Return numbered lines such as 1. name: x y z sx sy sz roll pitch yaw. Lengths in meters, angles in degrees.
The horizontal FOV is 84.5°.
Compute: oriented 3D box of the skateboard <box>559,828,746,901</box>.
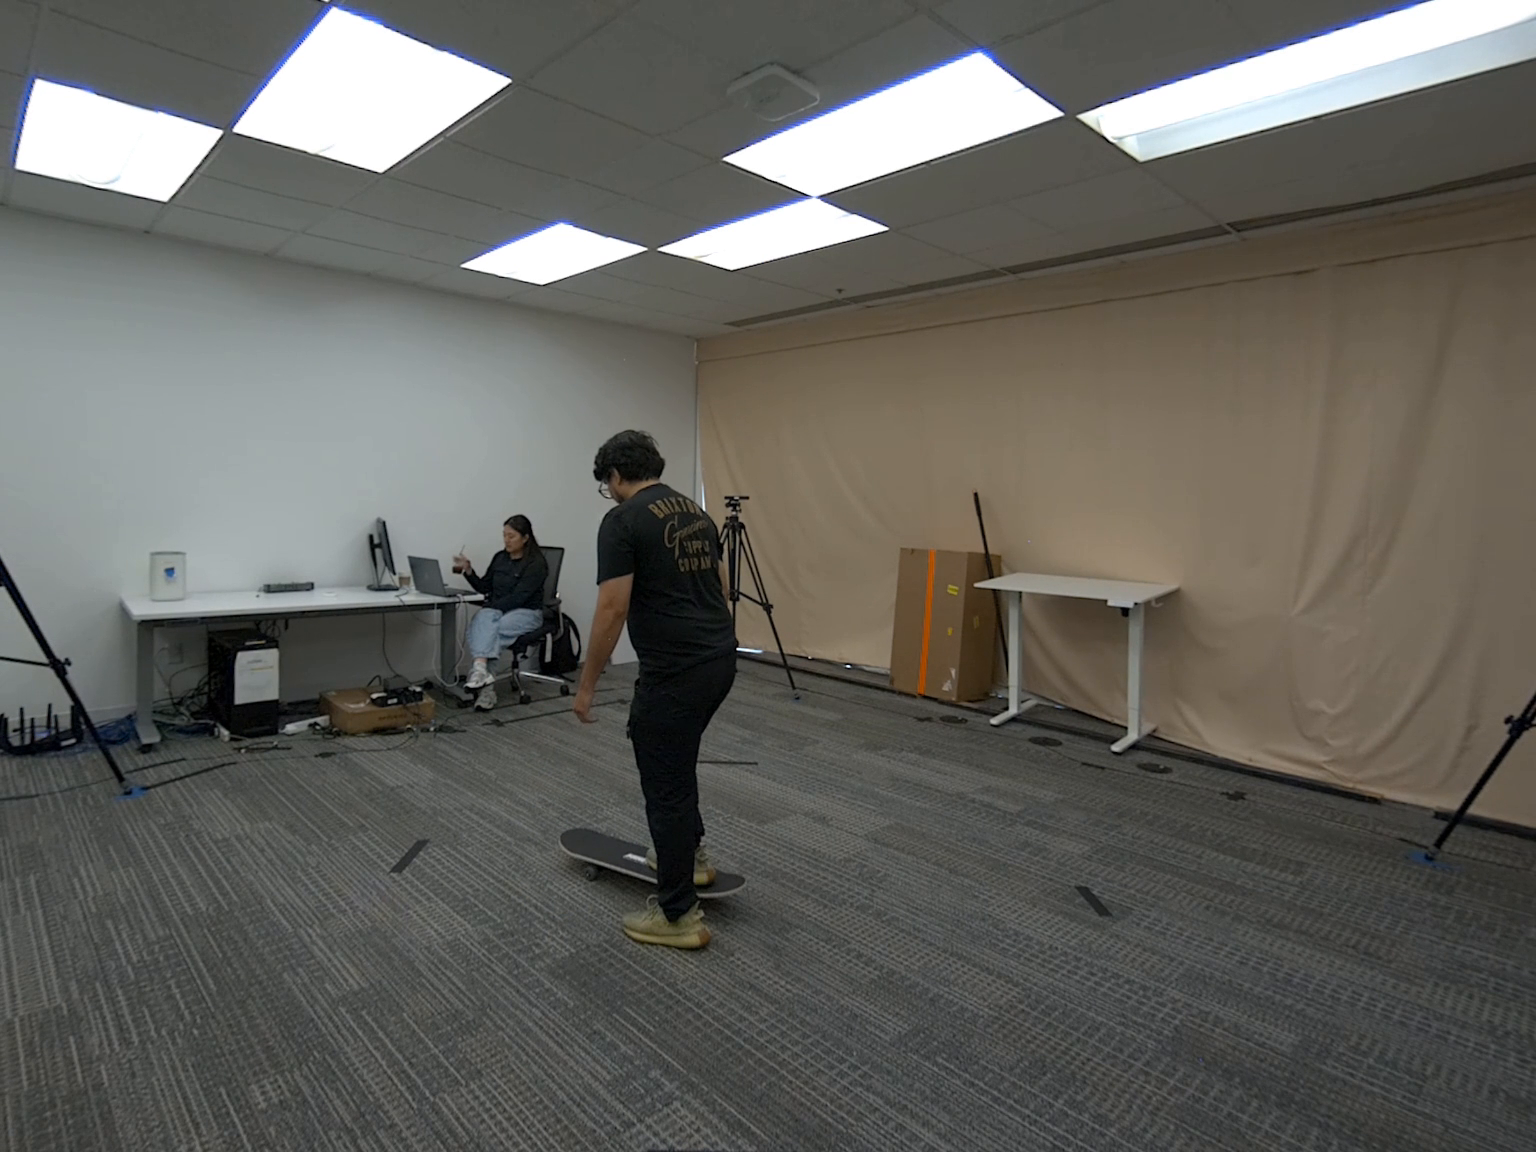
1. skateboard: -0.440 1.055 3.000 0.803 0.110 0.190 5 7 31
